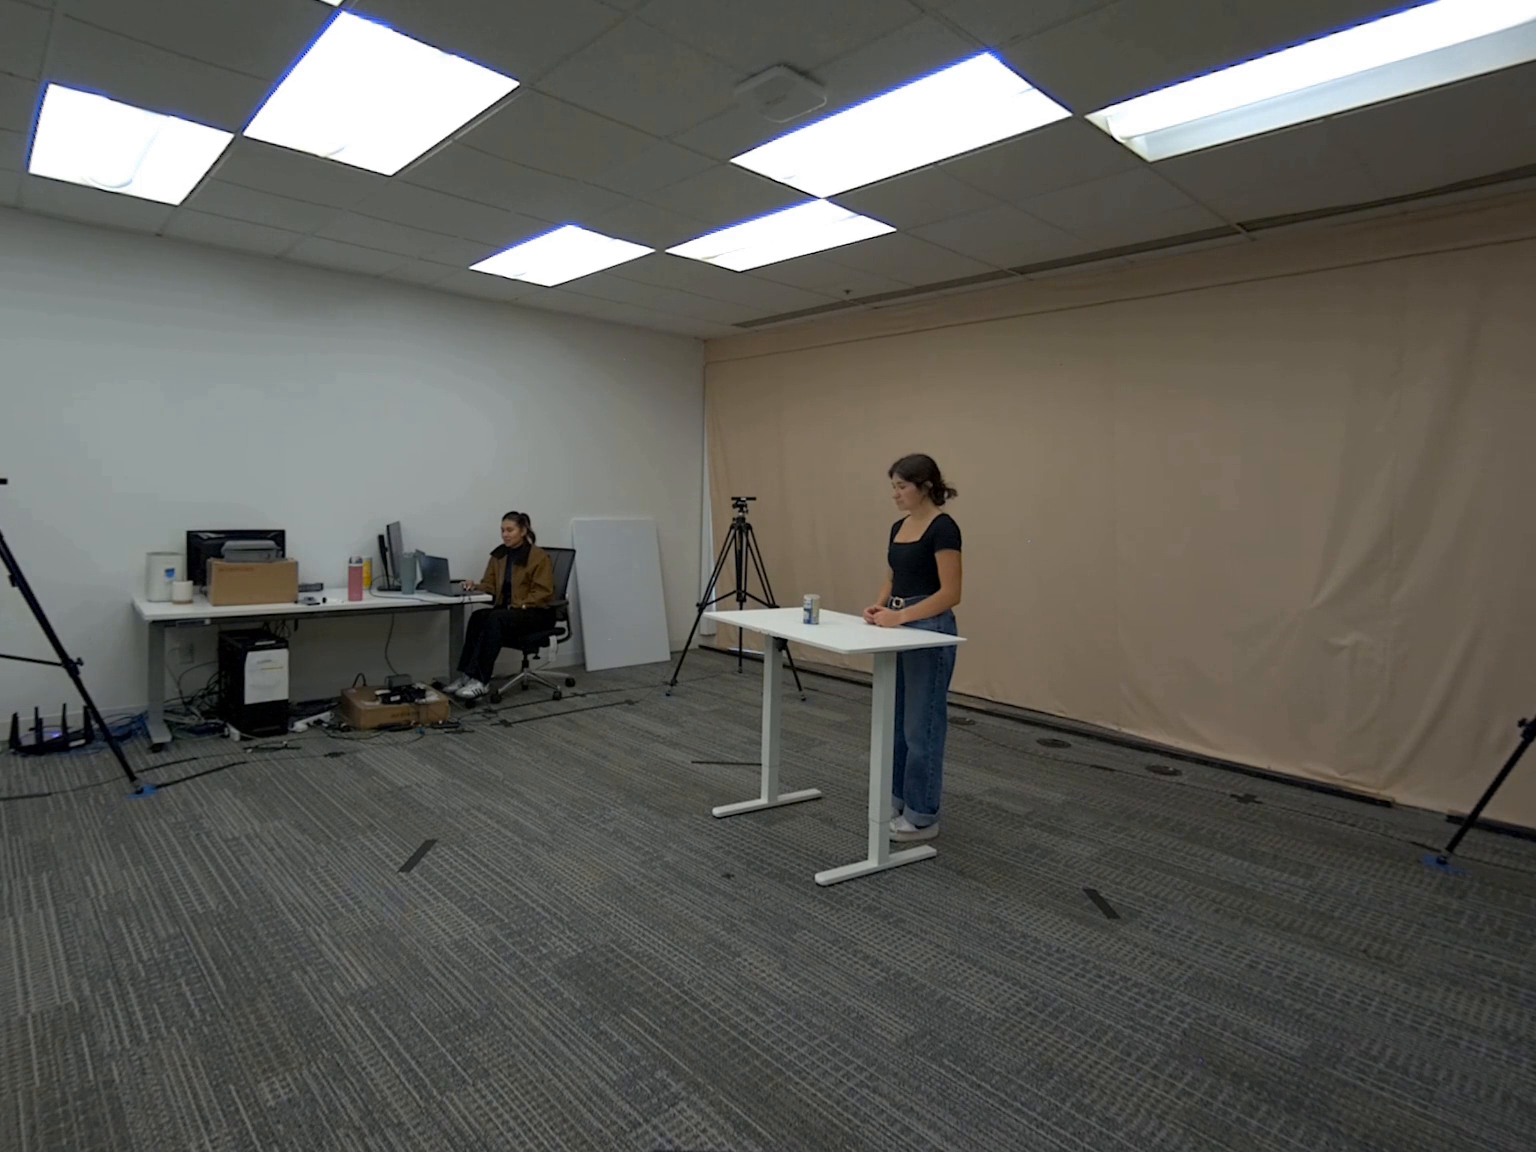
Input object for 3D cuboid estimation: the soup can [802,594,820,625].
[{"bbox_3d":[0.172,0.139,3.501,0.067,0.121,0.067,1,3,-1],"label":"soup can"}]
